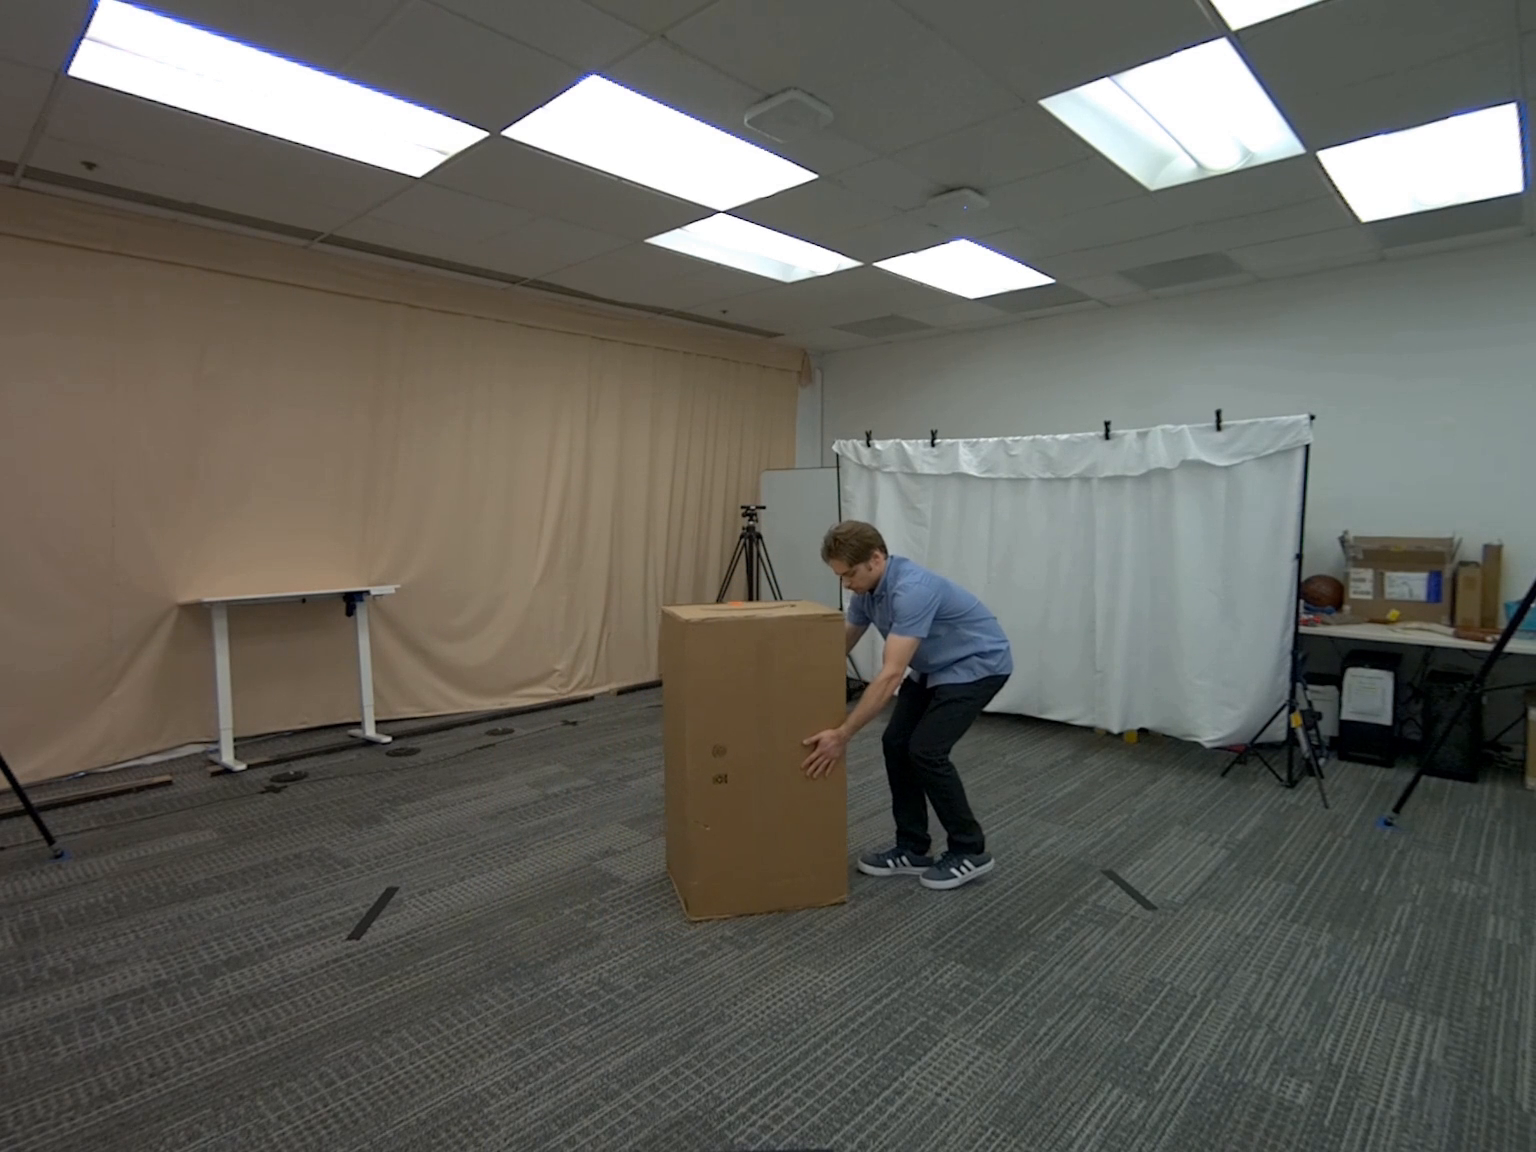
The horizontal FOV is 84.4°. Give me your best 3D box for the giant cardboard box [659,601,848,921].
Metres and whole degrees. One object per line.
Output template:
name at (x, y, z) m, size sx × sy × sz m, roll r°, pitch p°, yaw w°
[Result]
giant cardboard box at (-0.060, 0.630, 3.061) m, size 0.569 × 1.024 × 0.434 m, roll -1°, pitch 3°, yaw -15°
